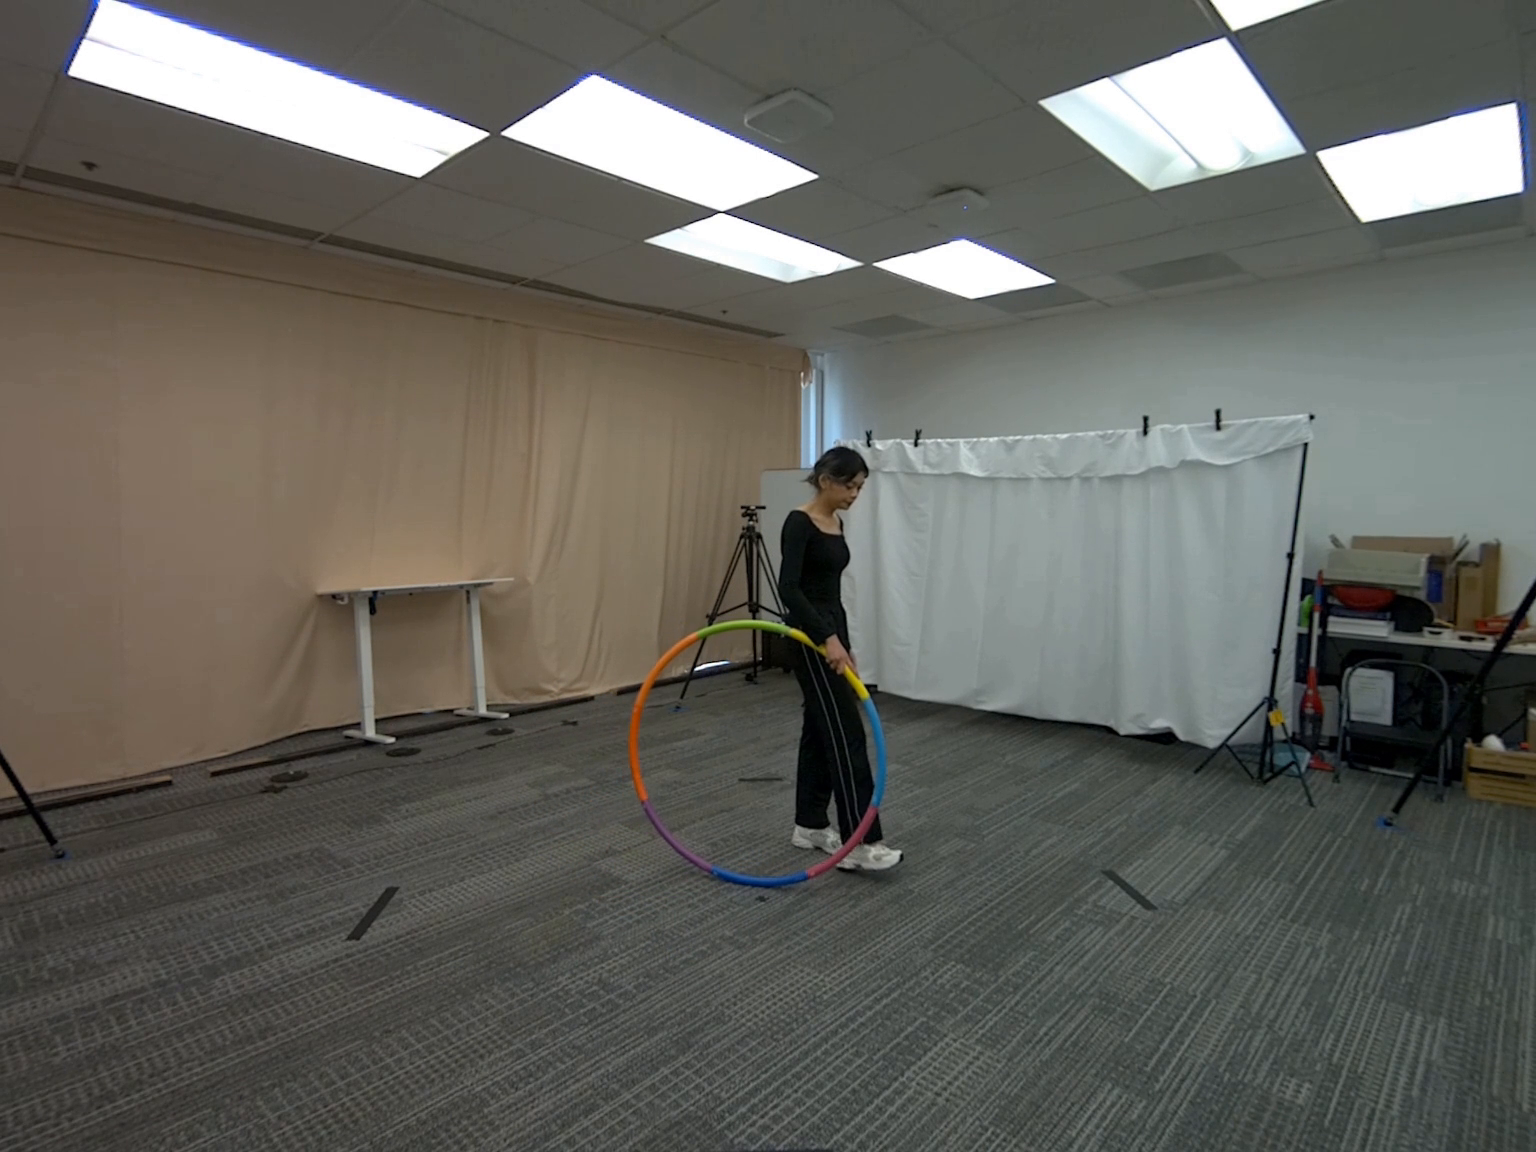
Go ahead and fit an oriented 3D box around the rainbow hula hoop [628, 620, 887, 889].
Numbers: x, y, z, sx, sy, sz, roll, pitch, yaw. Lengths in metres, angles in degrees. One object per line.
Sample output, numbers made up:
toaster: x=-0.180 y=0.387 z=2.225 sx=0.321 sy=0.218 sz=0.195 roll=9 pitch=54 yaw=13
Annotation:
rainbow hula hoop: x=-0.070 y=0.658 z=3.133 sx=0.998 sy=0.980 sz=0.035 roll=1 pitch=-4 yaw=19
